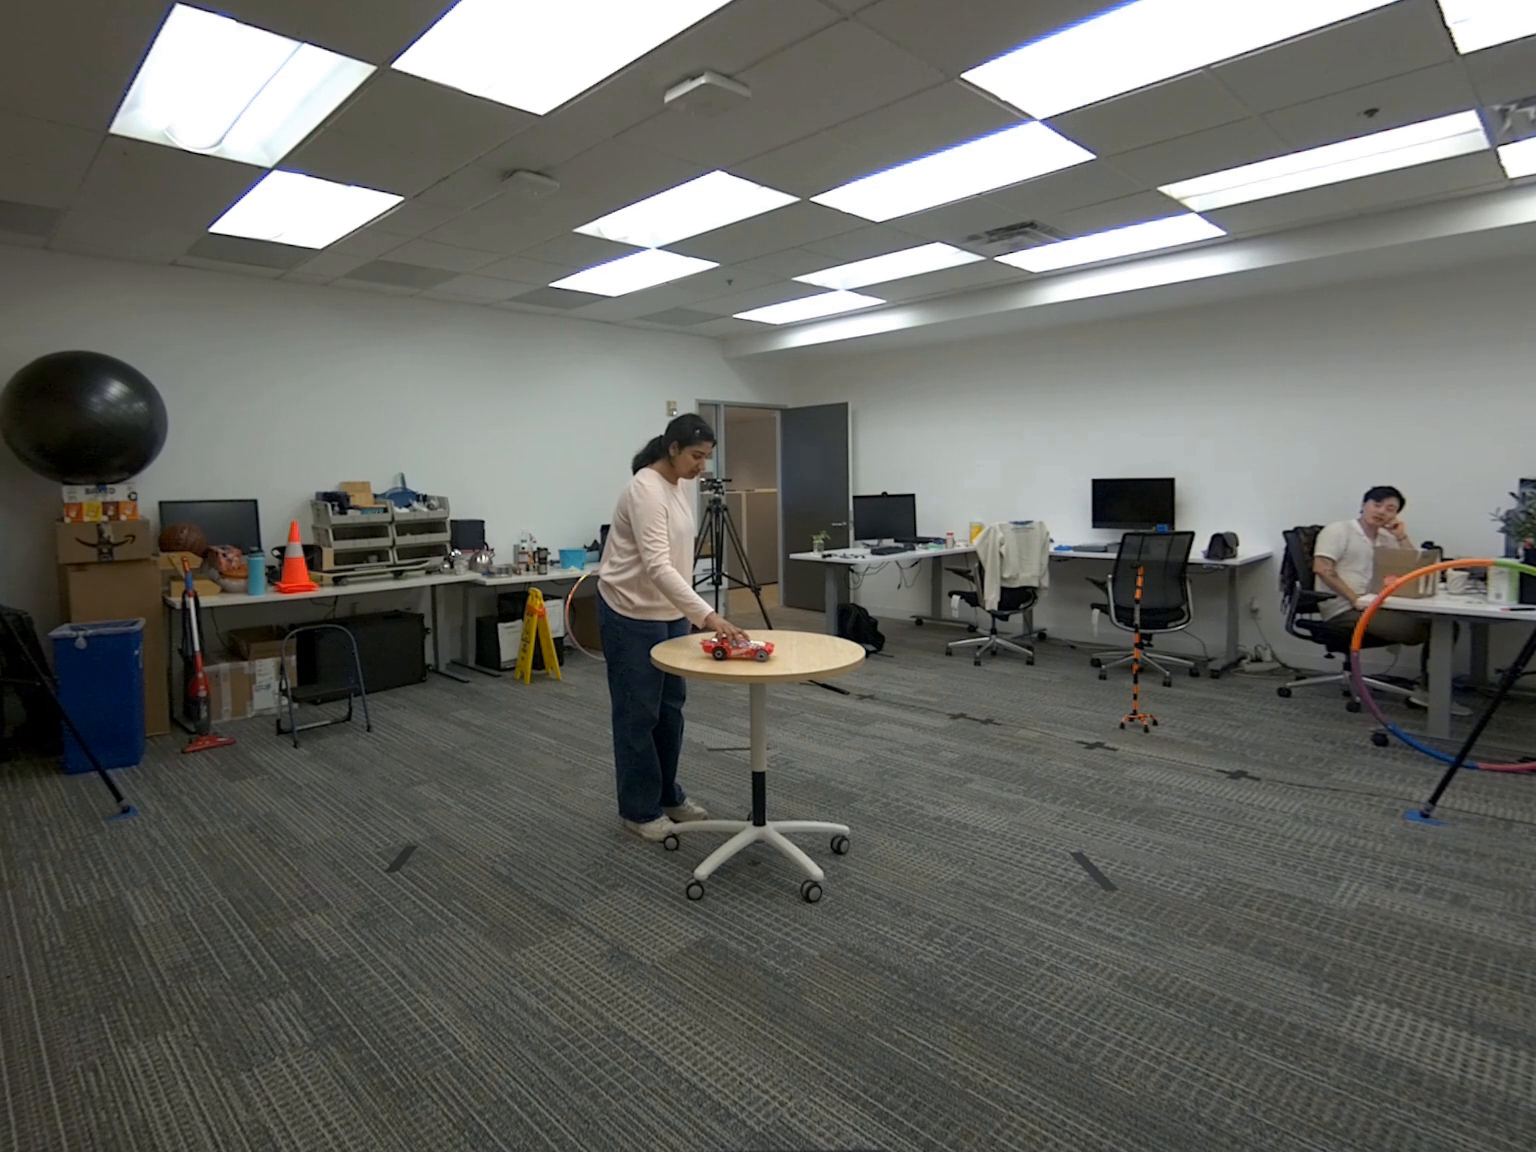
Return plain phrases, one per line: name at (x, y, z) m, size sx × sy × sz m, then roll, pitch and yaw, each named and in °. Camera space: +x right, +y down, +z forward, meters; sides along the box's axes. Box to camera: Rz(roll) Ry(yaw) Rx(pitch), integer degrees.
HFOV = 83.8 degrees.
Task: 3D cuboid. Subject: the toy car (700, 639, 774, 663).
toy car at (-0.107, 0.249, 2.933) m, size 0.257 × 0.083 × 0.130 m, roll 12°, pitch 8°, yaw 7°
